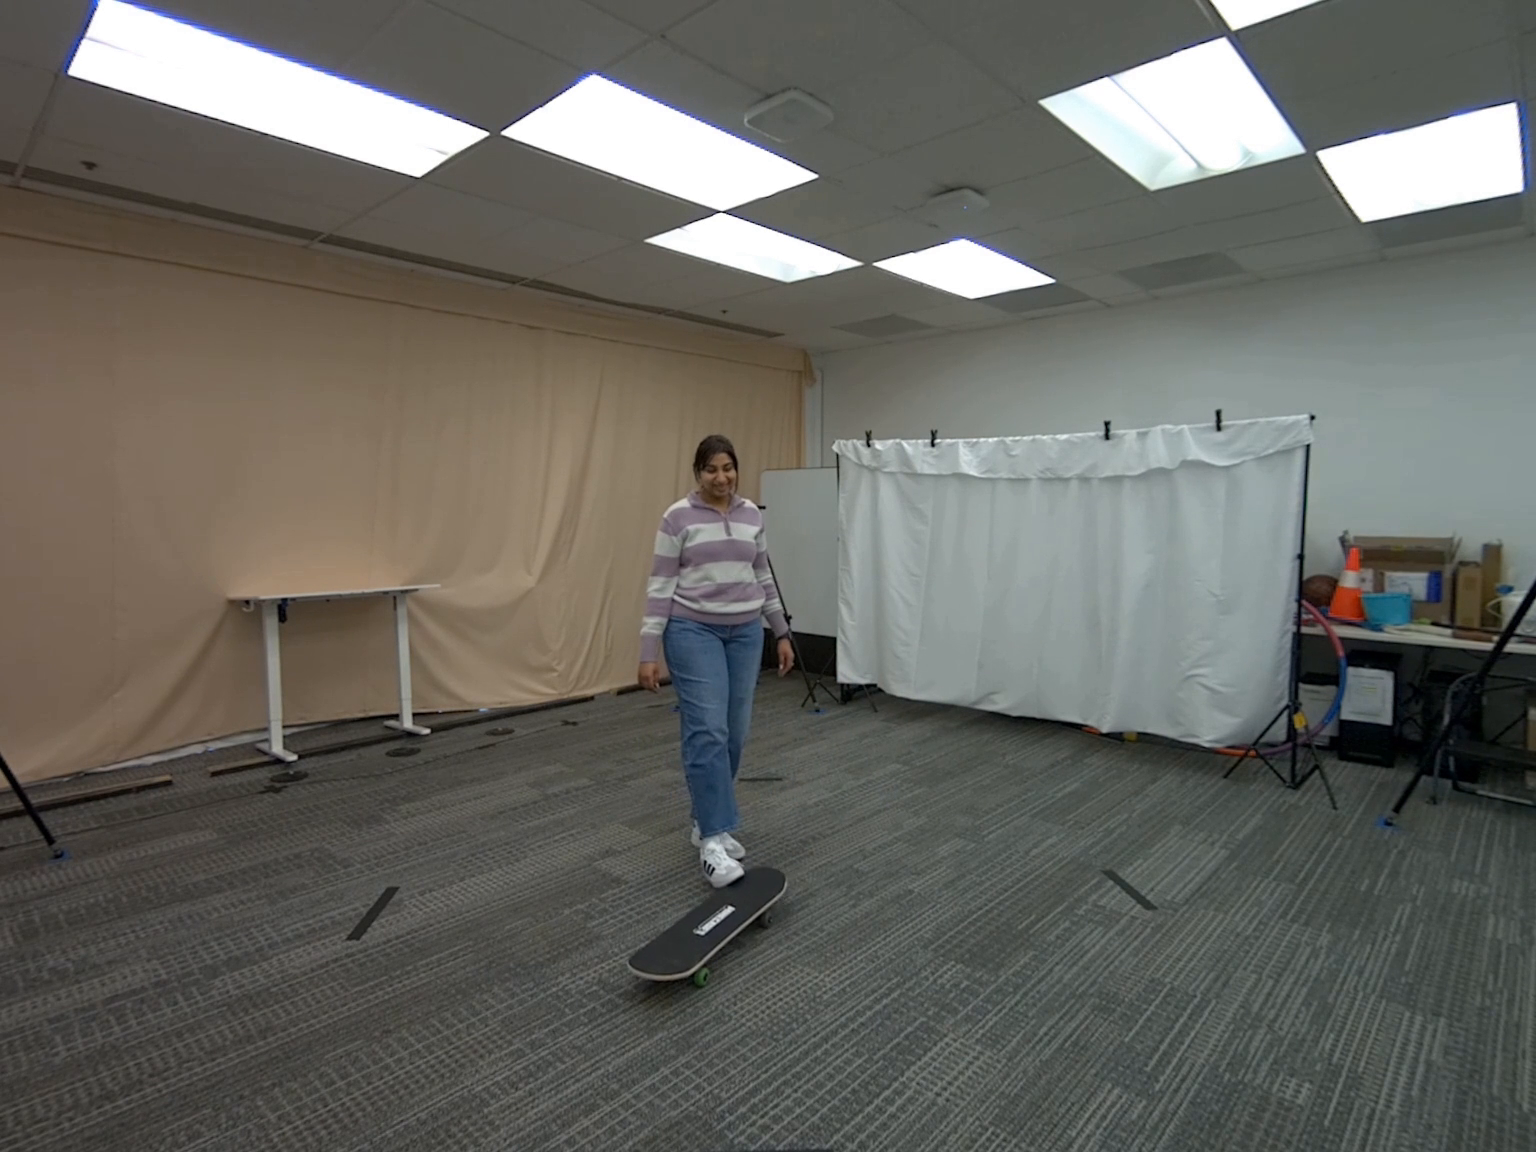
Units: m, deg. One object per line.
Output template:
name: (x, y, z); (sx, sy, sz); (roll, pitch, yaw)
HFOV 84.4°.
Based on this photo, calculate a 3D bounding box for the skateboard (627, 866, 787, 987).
skateboard: (-0.164, 1.113, 2.654); (0.199, 0.110, 0.765); (1, 5, 29)
